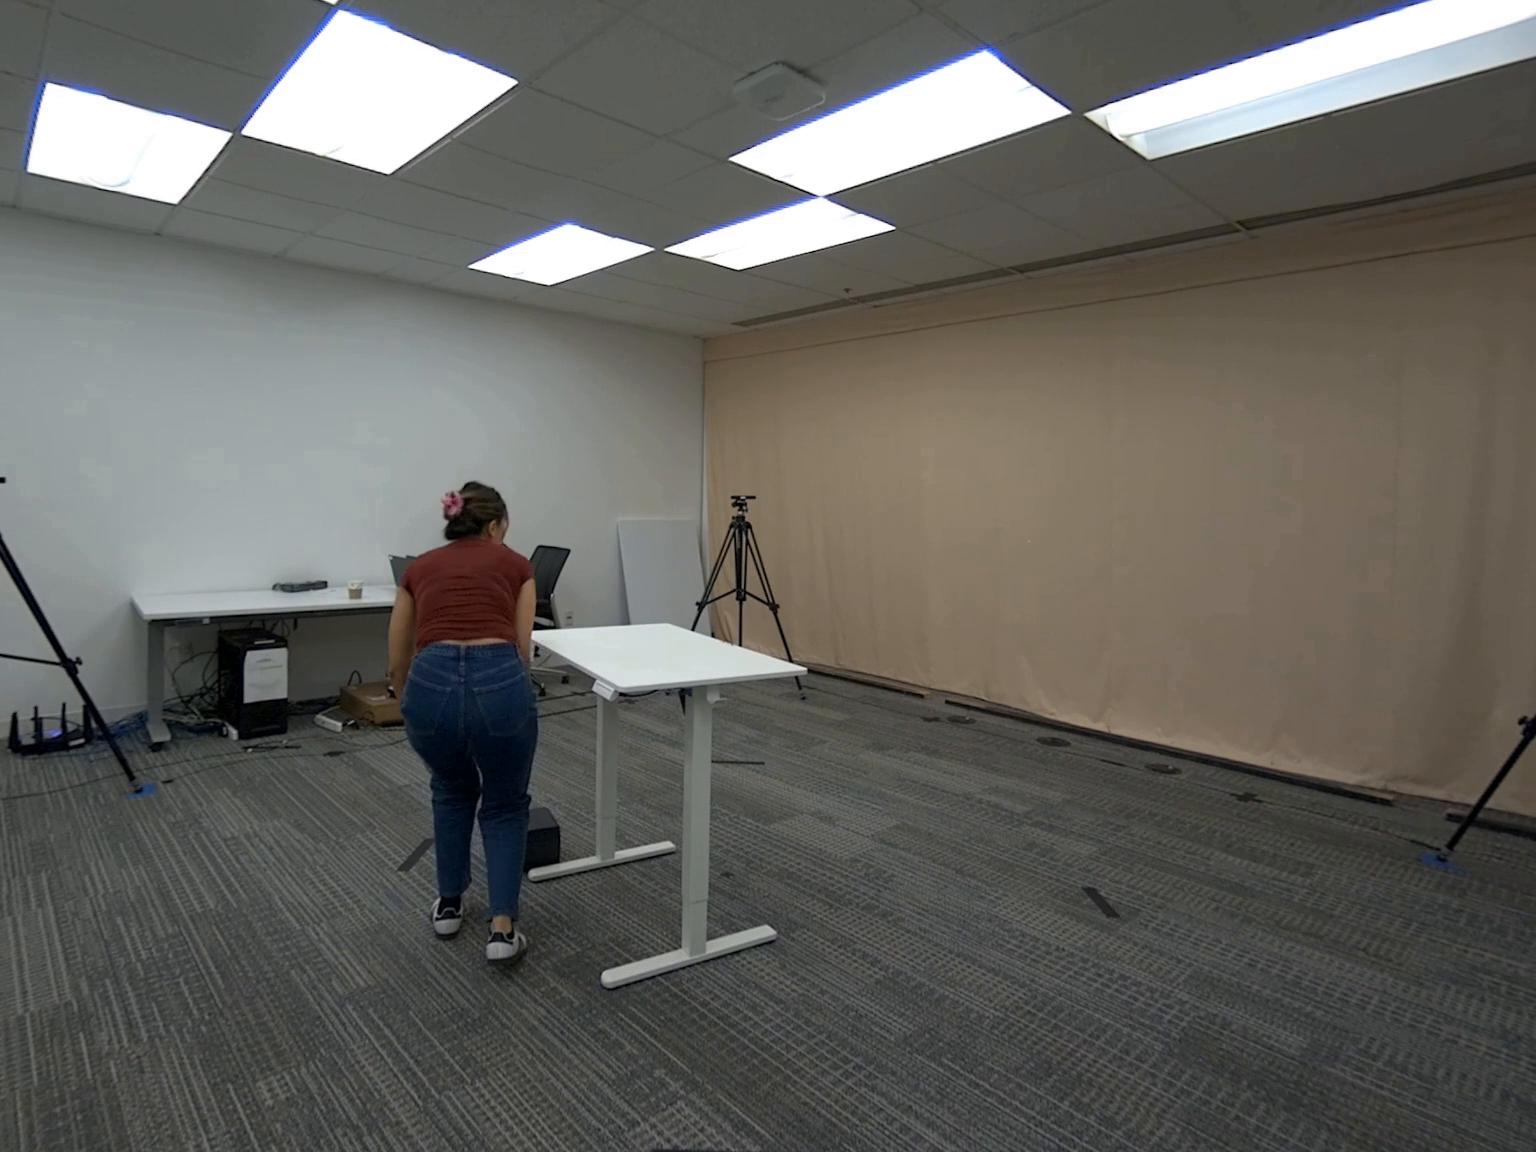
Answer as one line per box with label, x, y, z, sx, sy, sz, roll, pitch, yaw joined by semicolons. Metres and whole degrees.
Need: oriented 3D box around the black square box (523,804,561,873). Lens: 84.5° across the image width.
black square box;-0.927;0.995;3.179;0.224;0.155;0.221;-1;5;-26
